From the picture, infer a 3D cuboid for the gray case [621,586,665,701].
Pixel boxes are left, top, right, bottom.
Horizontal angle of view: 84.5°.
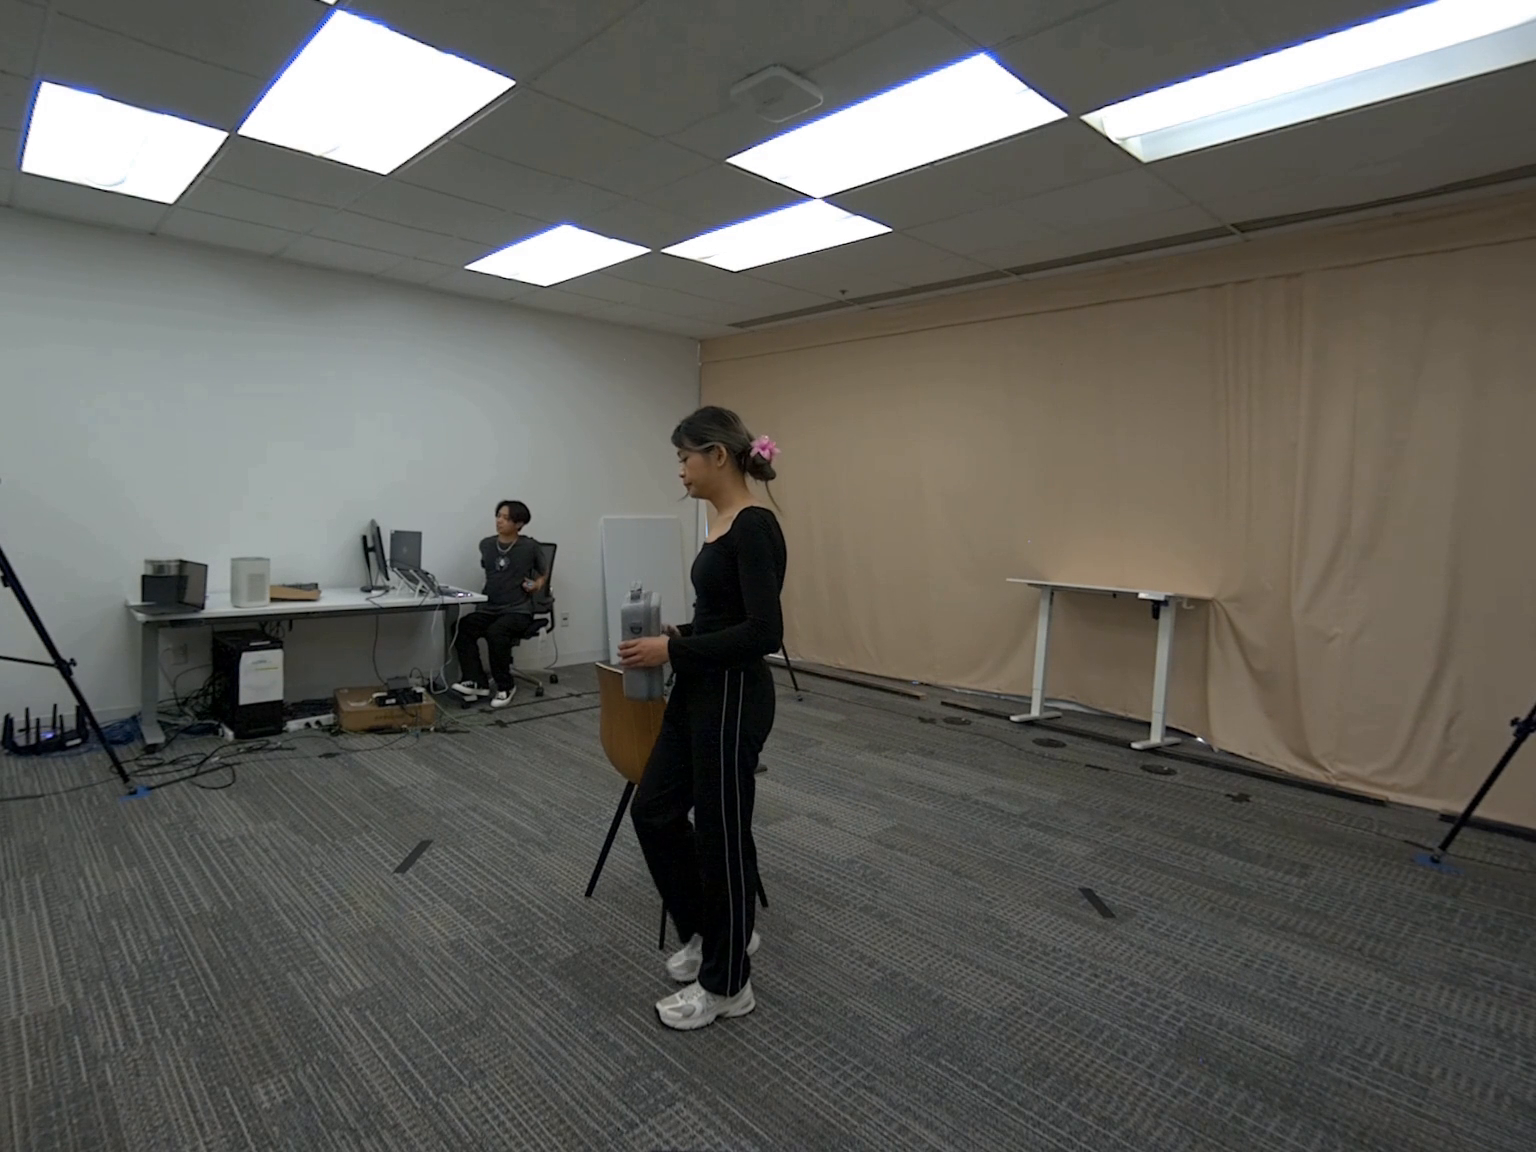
[{"bbox_3d":[-0.338,0.174,2.233,0.104,0.259,0.259,-3,6,-5],"label":"gray case"}]
